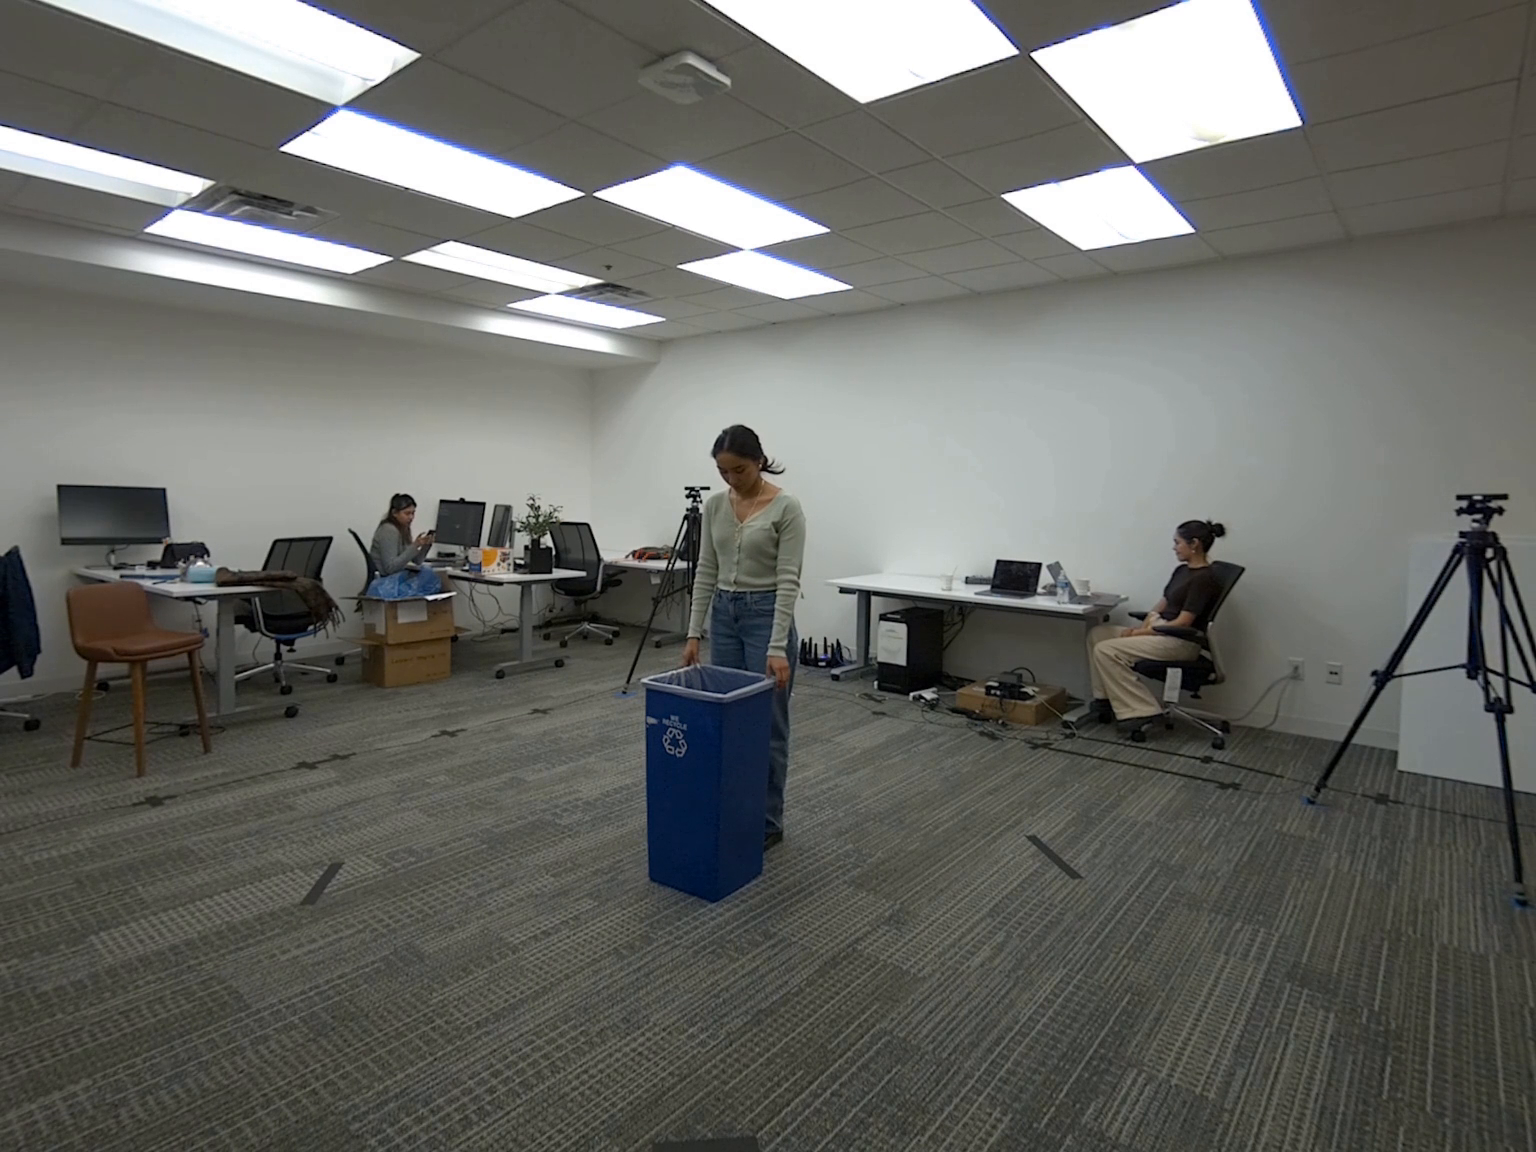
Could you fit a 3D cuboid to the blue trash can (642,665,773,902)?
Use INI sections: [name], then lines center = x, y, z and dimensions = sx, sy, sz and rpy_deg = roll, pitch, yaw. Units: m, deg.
[blue trash can]
center = -0.218, 0.714, 3.024
dimensions = 0.386, 0.711, 0.368
rpy_deg = 3, 4, 33
